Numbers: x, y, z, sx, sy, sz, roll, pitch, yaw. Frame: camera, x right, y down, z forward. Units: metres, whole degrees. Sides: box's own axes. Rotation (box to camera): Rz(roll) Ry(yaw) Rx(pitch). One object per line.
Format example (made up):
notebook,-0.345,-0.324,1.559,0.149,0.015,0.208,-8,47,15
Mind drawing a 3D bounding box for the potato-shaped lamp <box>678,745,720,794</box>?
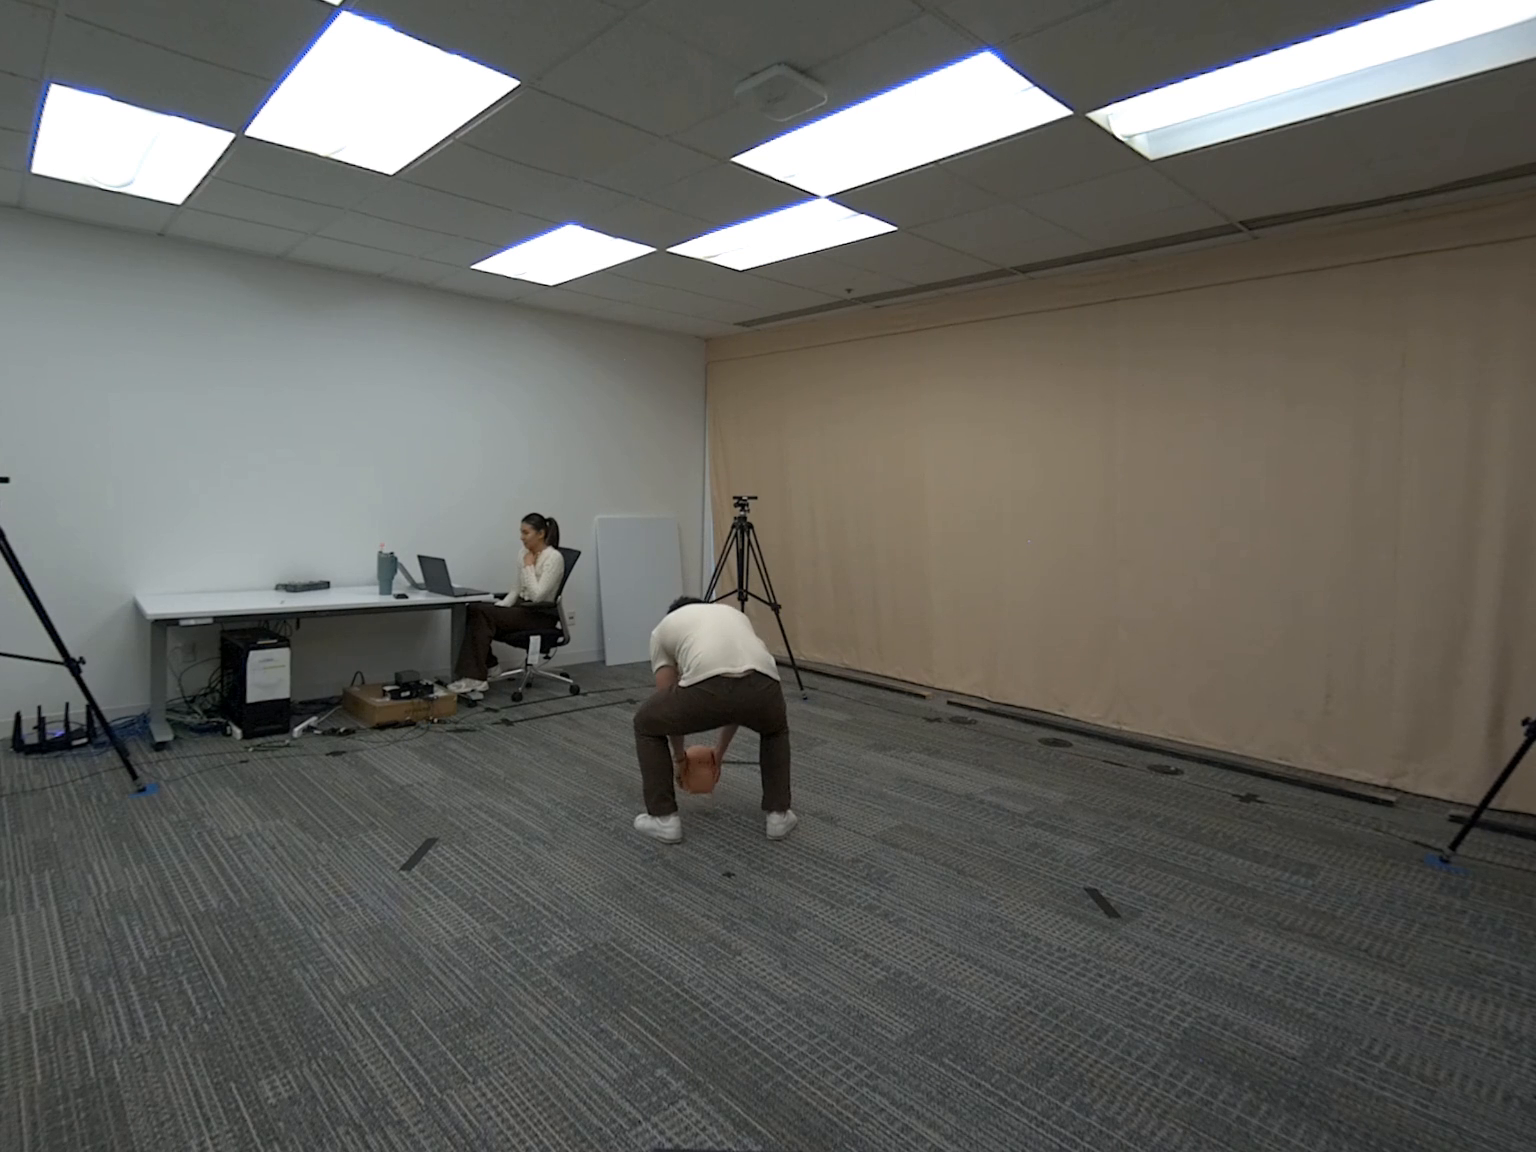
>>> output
potato-shaped lamp,-0.303,0.821,3.703,0.165,0.195,0.173,5,23,2
